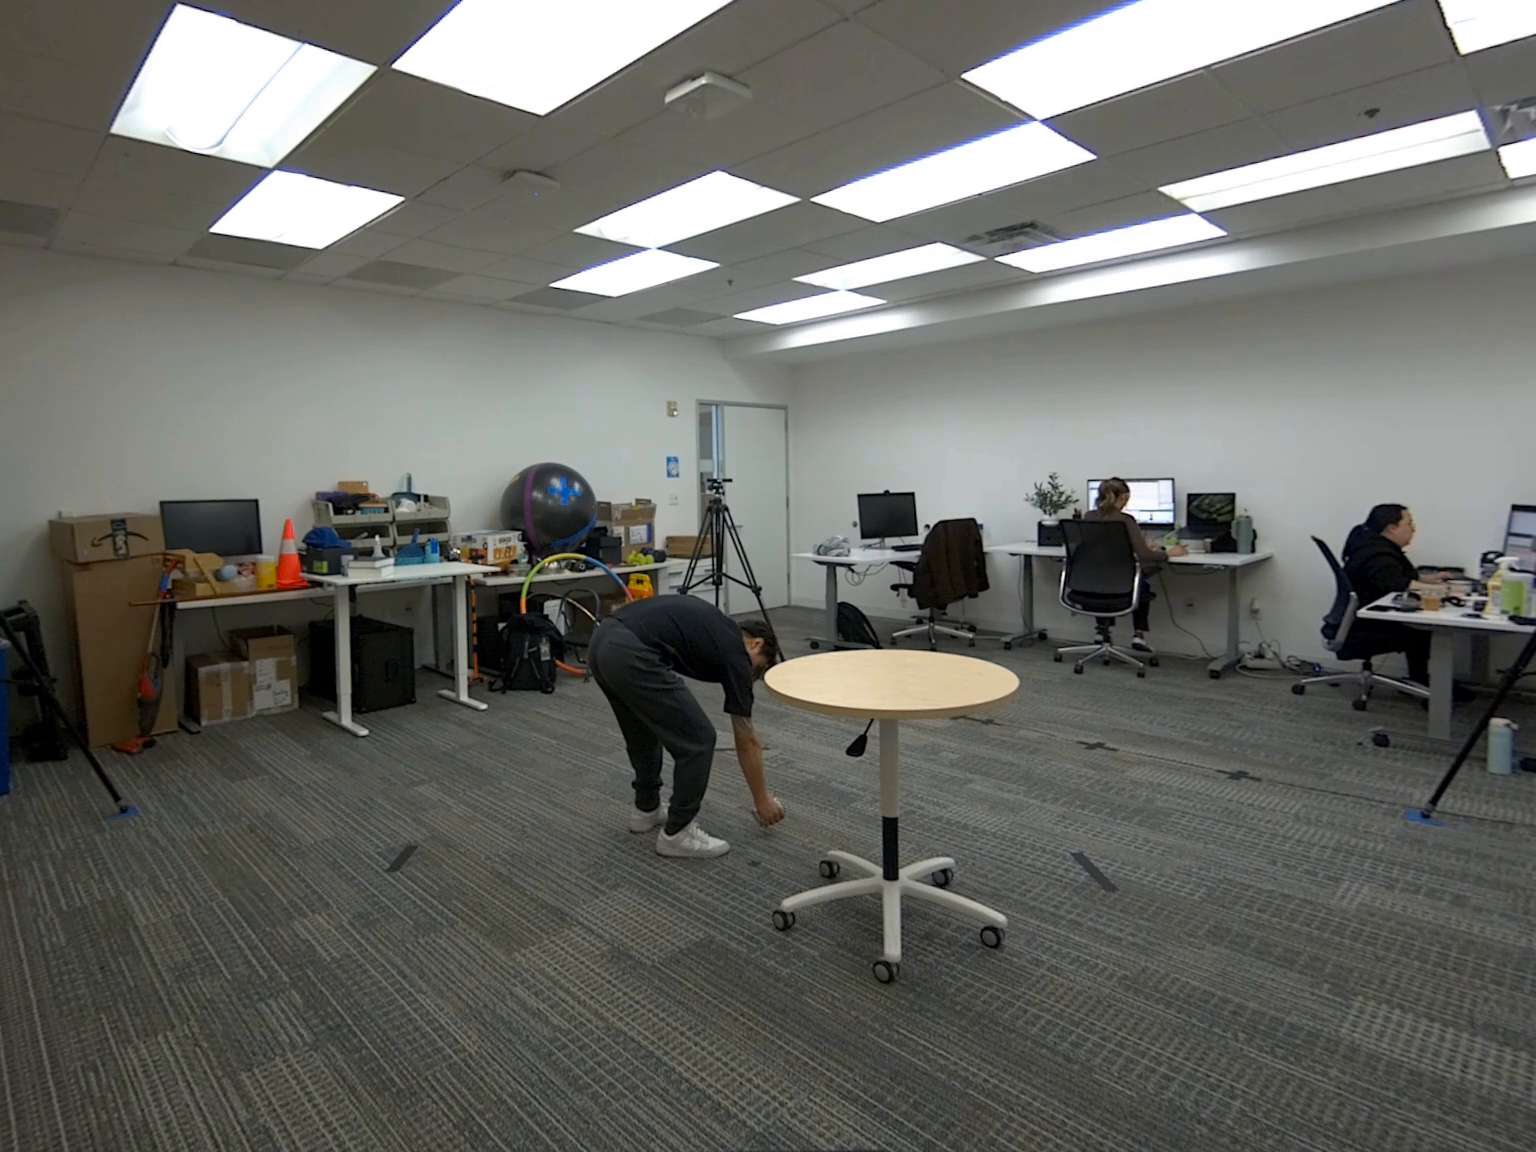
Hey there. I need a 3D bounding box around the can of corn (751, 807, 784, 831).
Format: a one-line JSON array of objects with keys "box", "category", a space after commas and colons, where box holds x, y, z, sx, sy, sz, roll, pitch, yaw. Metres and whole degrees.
[{"box": [-0.016, 0.922, 3.375, 0.111, 0.074, 0.074, -3, 5, 1], "category": "can of corn"}]
